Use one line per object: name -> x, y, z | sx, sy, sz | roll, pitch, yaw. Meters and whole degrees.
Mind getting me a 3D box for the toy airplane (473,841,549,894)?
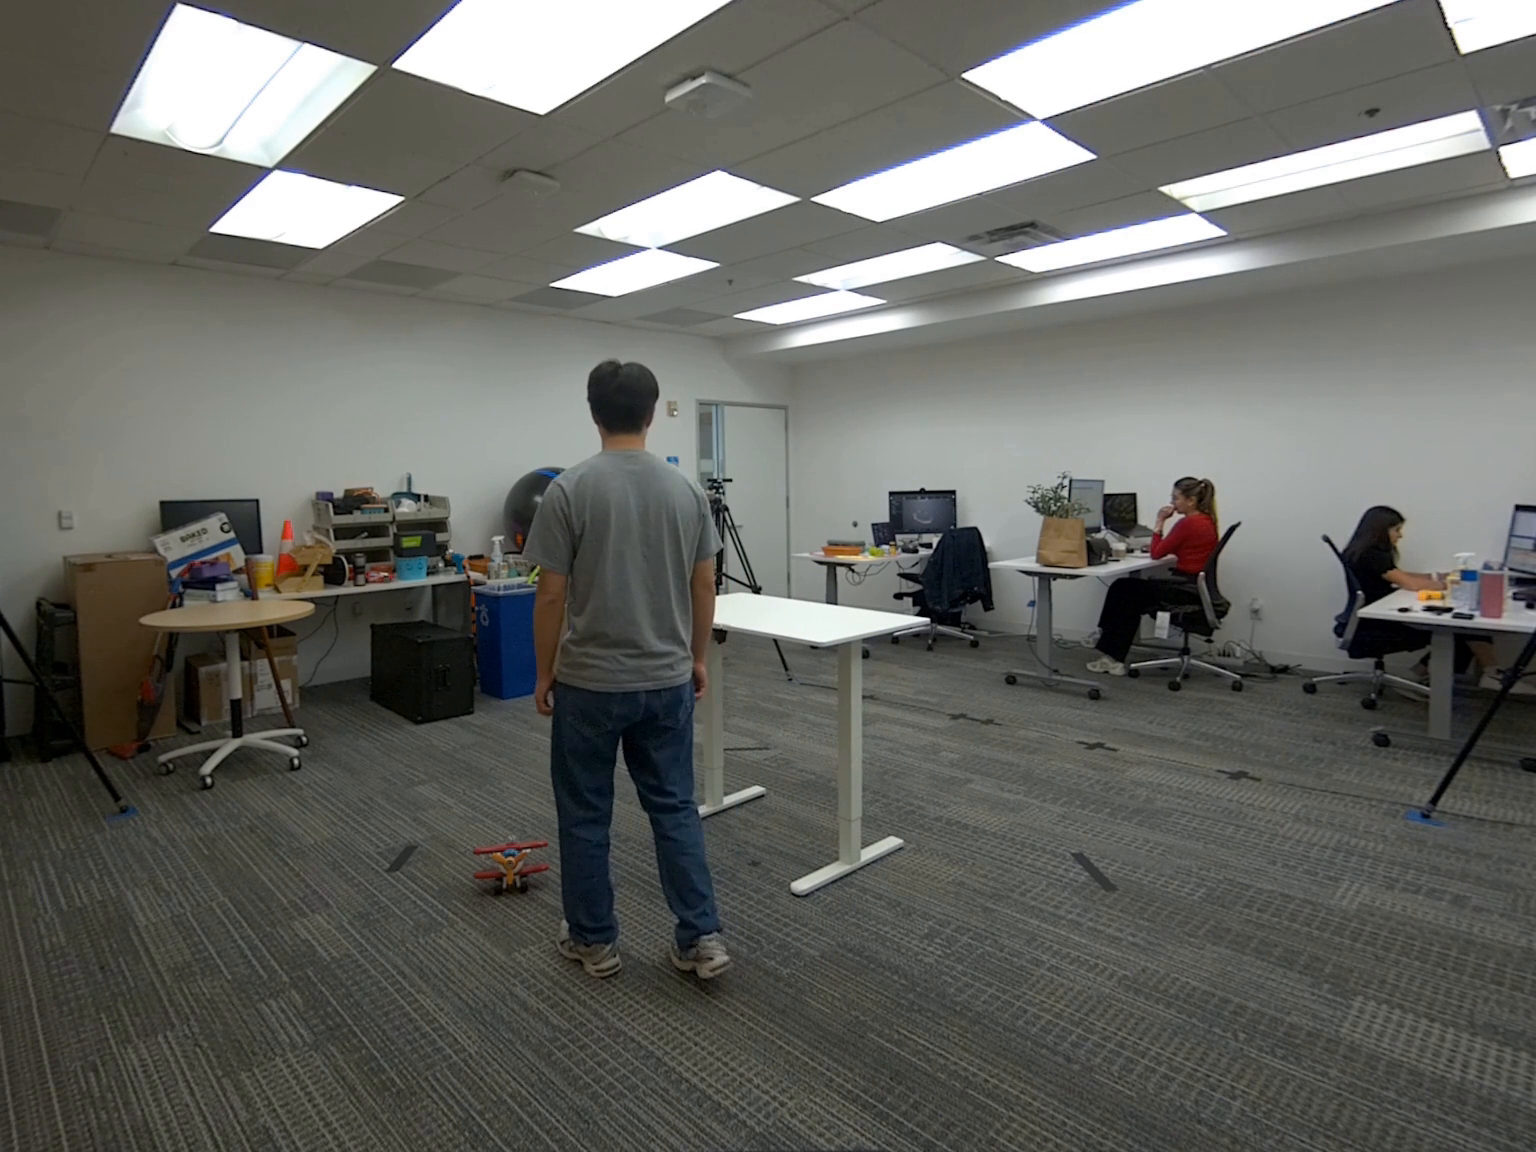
toy airplane -> -0.920, 1.004, 2.996 | 0.244, 0.156, 0.267 | -6, 8, -41
